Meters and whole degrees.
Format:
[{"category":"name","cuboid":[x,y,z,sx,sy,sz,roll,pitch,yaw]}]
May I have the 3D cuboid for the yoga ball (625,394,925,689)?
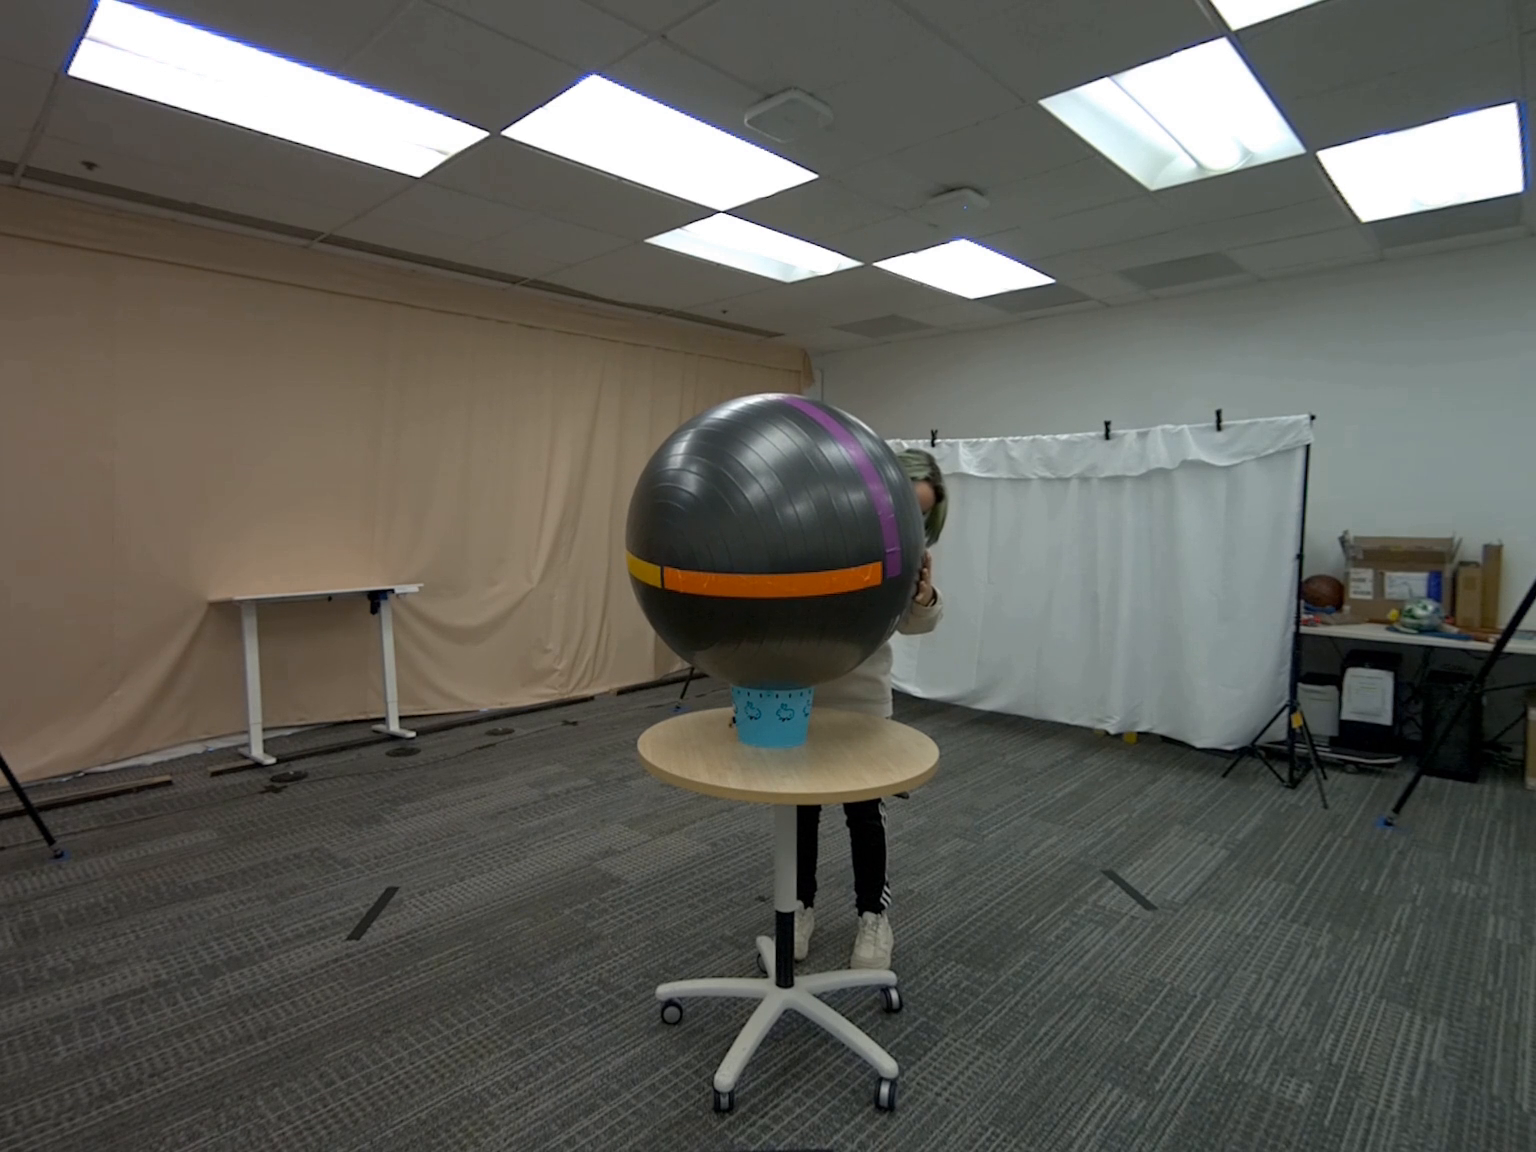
[{"category":"yoga ball","cuboid":[0.011,-0.082,2.161,0.757,0.756,0.760,0,4,-2]}]
